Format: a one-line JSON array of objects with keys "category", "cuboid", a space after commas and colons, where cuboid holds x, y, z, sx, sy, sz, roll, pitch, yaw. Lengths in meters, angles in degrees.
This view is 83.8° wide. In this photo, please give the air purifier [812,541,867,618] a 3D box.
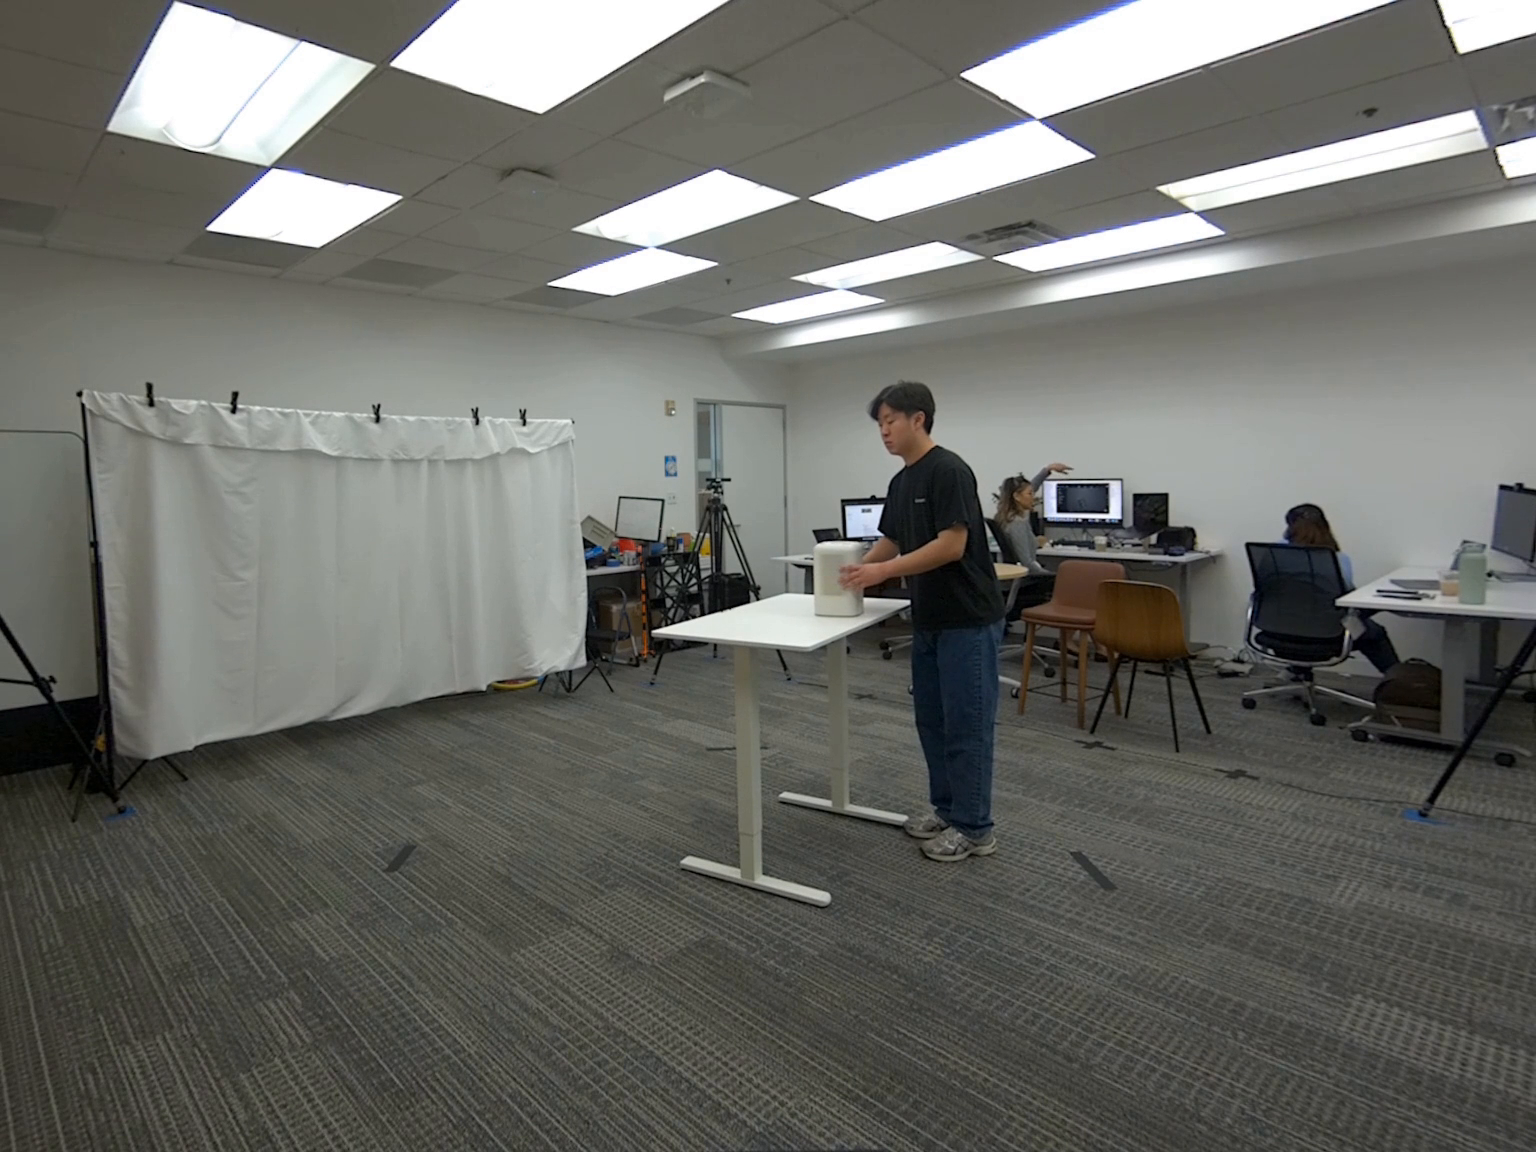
[{"category": "air purifier", "cuboid": [0.275, 0.007, 3.195, 0.175, 0.265, 0.168, -2, 3, 19]}]
